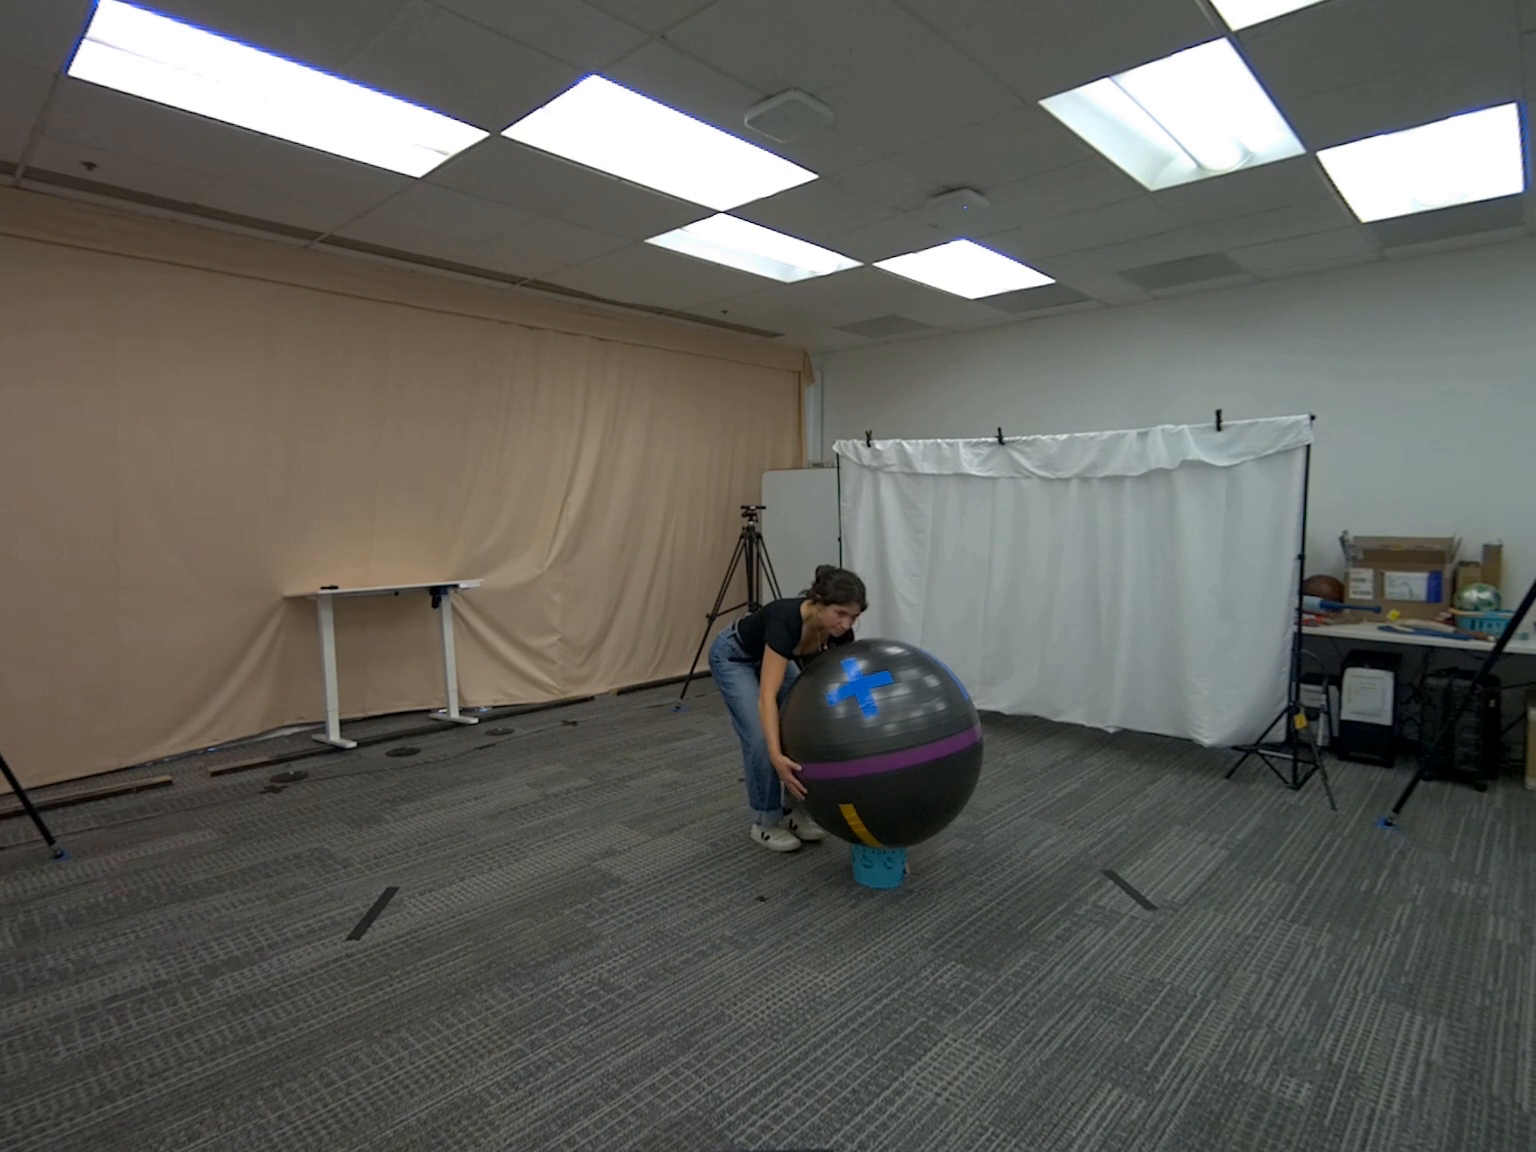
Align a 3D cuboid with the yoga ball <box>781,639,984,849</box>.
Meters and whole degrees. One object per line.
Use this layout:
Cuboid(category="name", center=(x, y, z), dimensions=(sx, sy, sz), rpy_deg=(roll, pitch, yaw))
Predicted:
Cuboid(category="yoga ball", center=(0.414, 0.617, 3.139), dimensions=(0.757, 0.756, 0.760), rpy_deg=(0, 4, -2))
